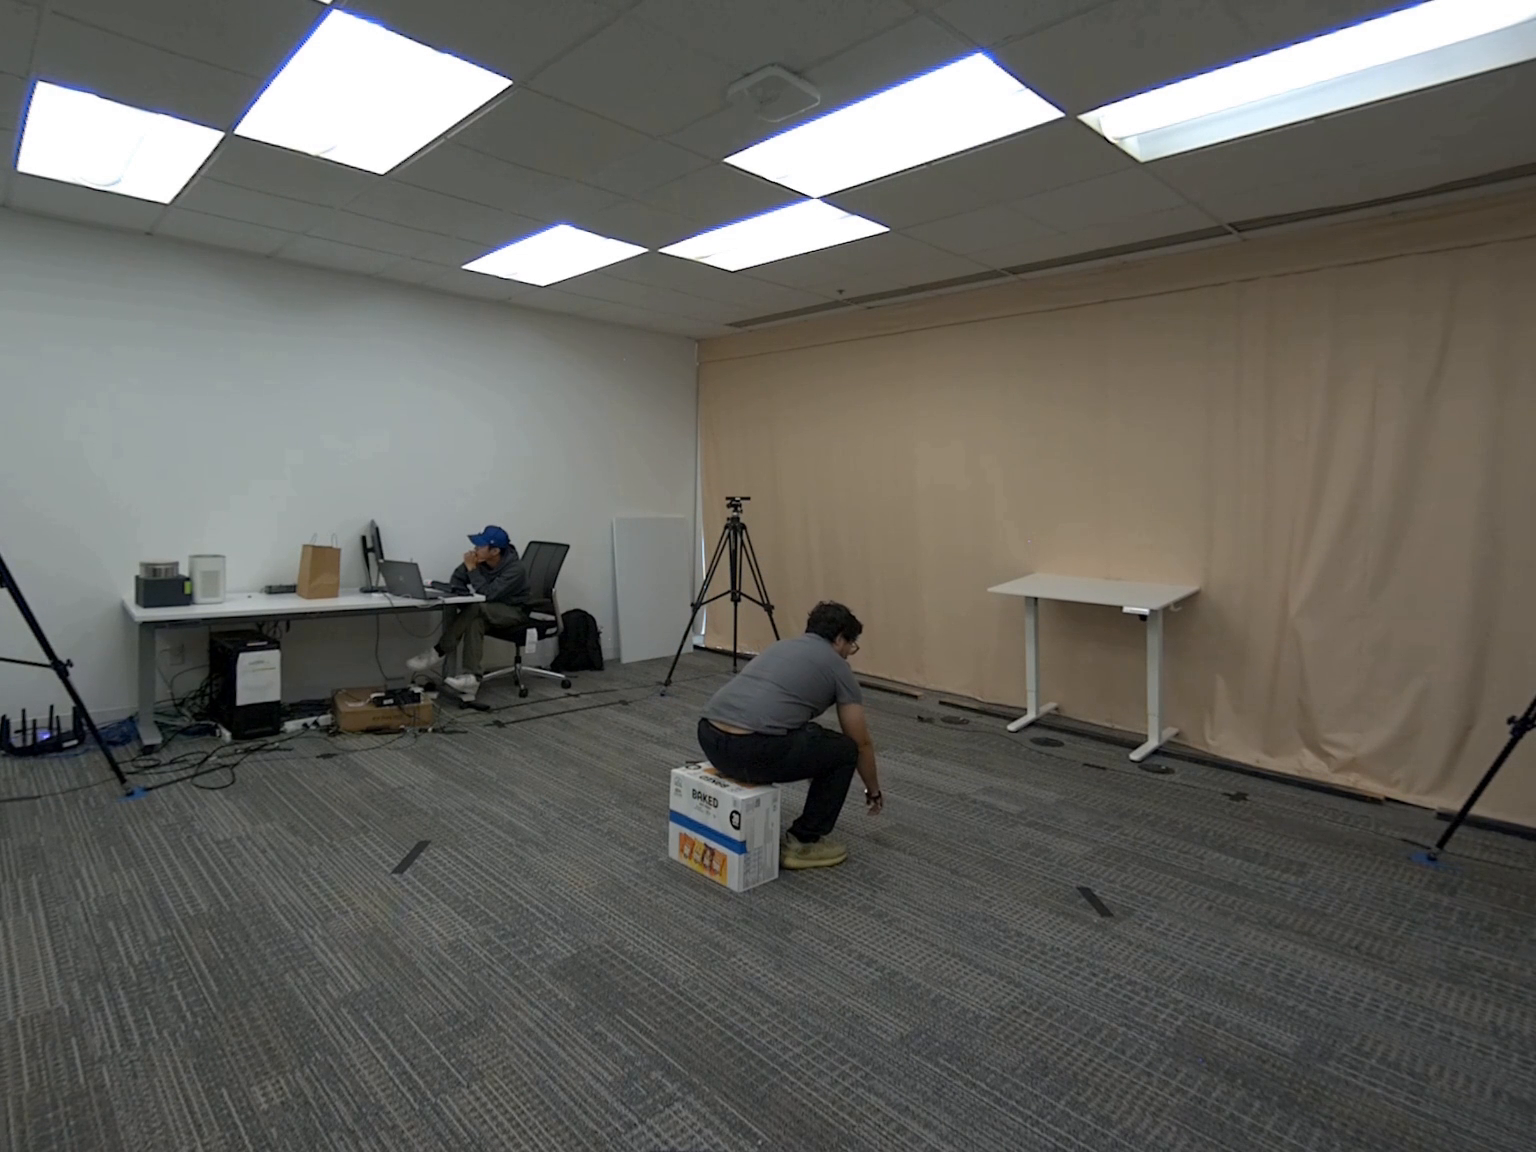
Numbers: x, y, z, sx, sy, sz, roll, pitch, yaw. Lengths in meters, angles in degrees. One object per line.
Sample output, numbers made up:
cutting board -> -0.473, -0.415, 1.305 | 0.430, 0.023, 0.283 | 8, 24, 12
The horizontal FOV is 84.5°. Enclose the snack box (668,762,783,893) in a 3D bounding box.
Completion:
snack box -> -0.175, 0.930, 3.166 | 0.201, 0.339, 0.415 | -2, 5, -44
